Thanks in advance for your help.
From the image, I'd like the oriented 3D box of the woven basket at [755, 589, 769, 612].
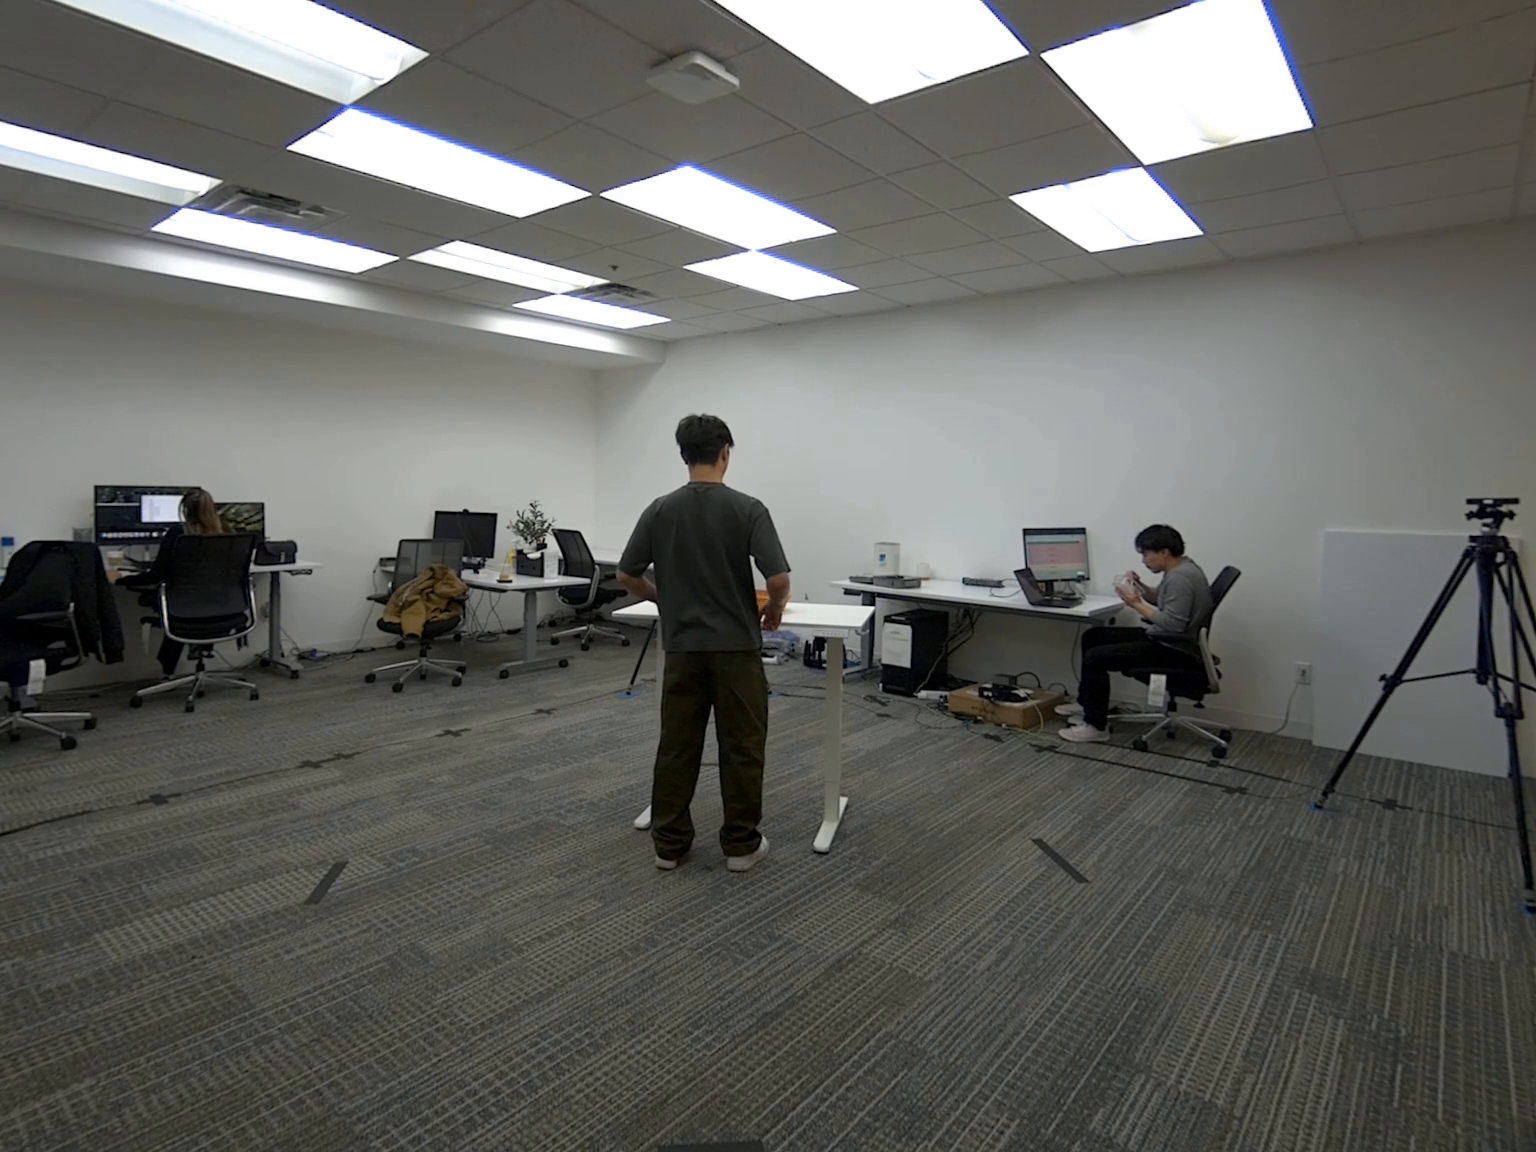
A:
[{"bbox_3d":[-0.075,0.106,3.597,0.357,0.073,0.249,2,5,16],"label":"woven basket"}]
